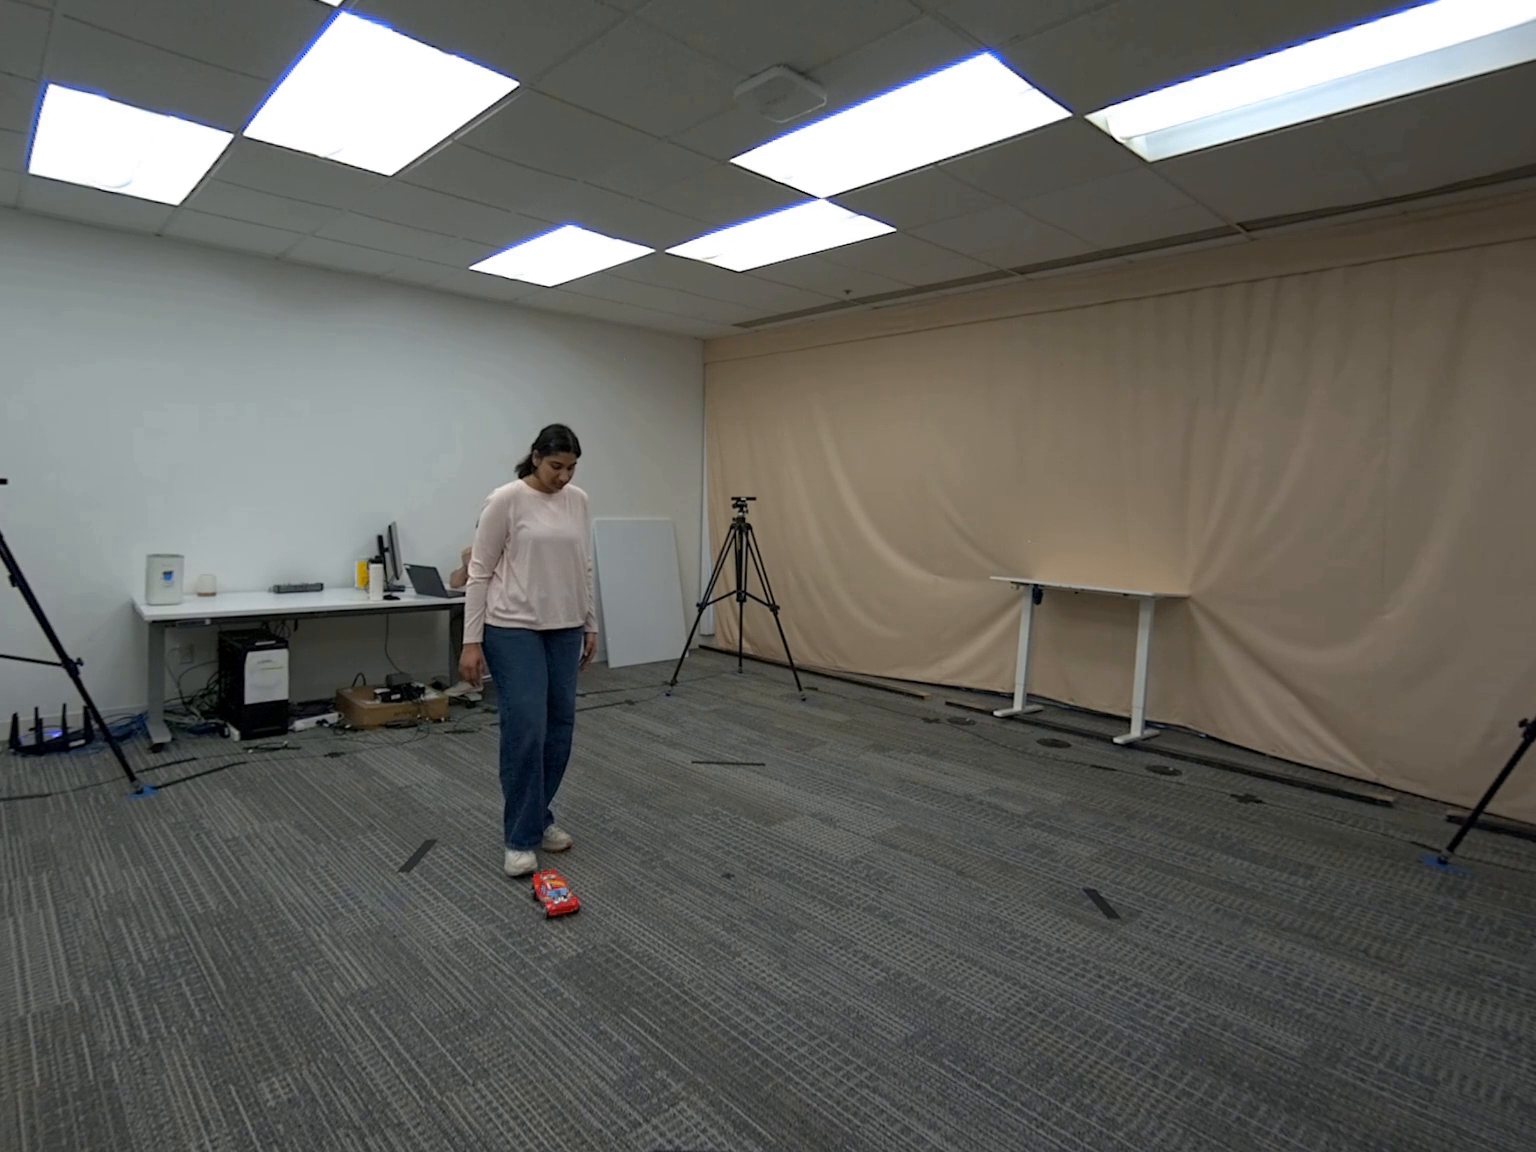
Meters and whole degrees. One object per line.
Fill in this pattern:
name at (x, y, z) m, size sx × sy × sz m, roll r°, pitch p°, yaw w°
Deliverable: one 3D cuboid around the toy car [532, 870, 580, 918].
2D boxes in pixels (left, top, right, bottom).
toy car at (-0.738, 1.085, 2.864) m, size 0.128 × 0.082 × 0.262 m, roll -1°, pitch 17°, yaw -28°
